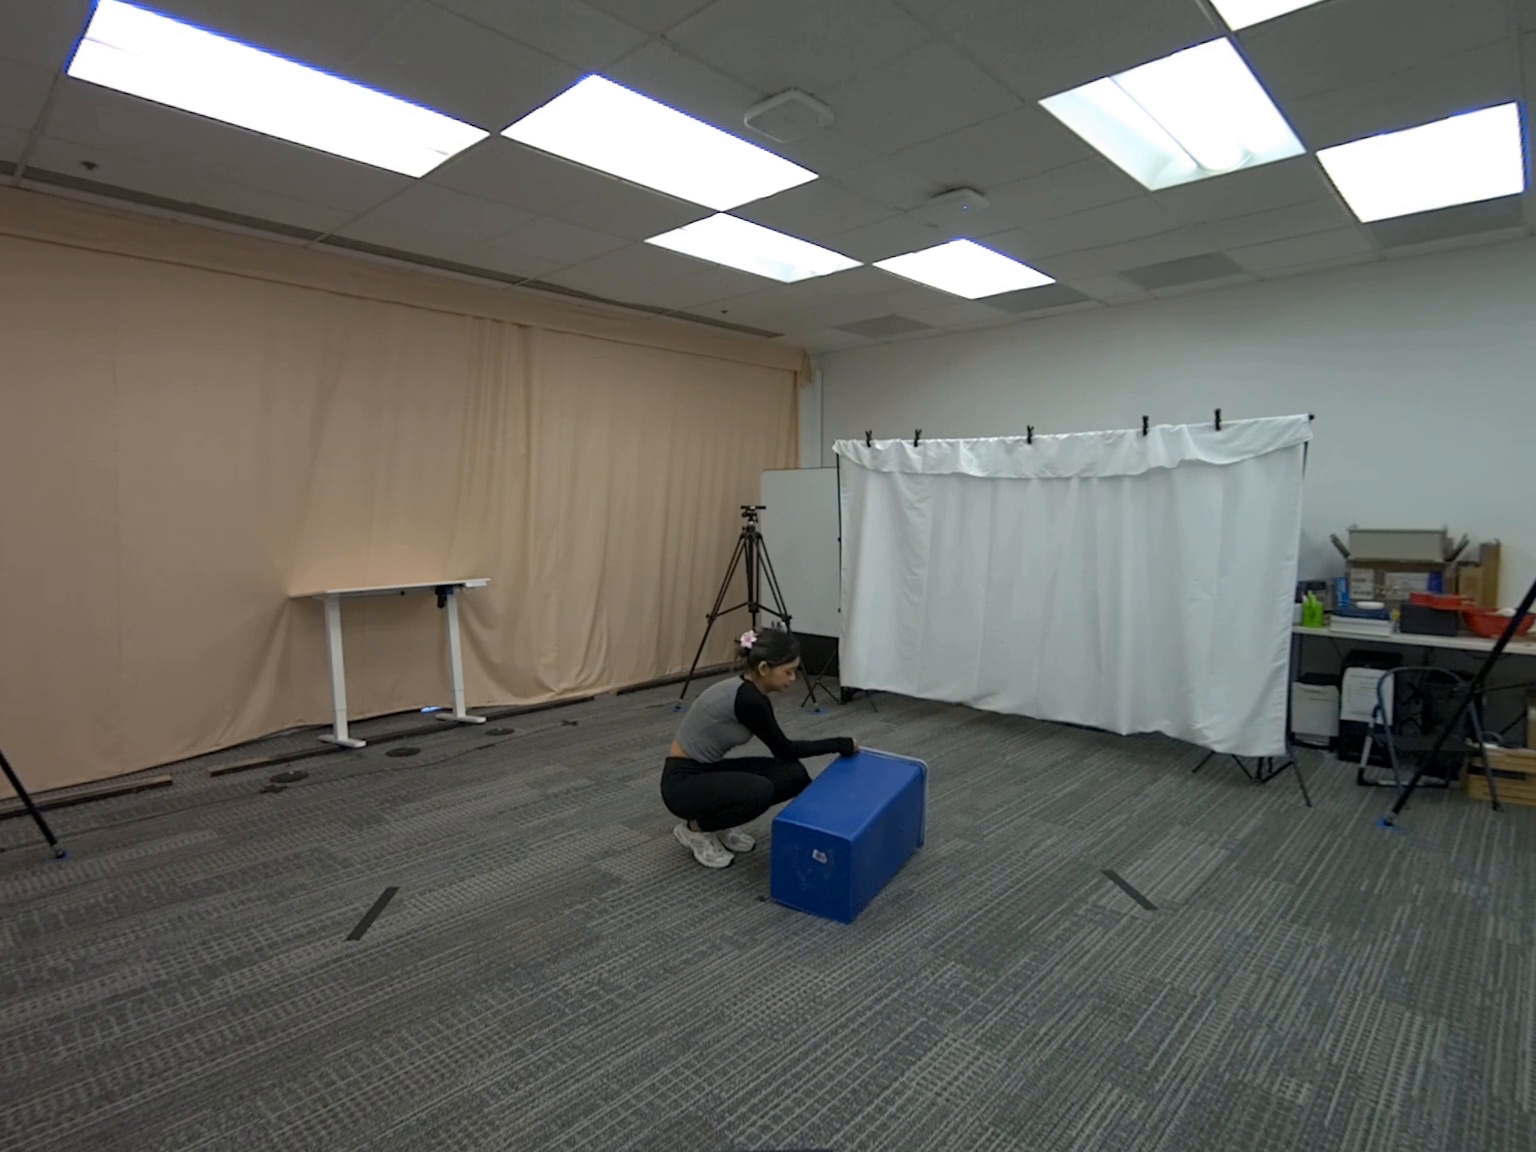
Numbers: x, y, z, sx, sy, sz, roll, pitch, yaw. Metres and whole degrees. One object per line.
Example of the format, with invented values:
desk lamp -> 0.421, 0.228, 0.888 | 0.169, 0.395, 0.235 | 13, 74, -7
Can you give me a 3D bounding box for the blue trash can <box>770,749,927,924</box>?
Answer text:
blue trash can -> 0.313, 0.946, 3.145 | 0.385, 0.376, 0.696 | 7, 11, 29
